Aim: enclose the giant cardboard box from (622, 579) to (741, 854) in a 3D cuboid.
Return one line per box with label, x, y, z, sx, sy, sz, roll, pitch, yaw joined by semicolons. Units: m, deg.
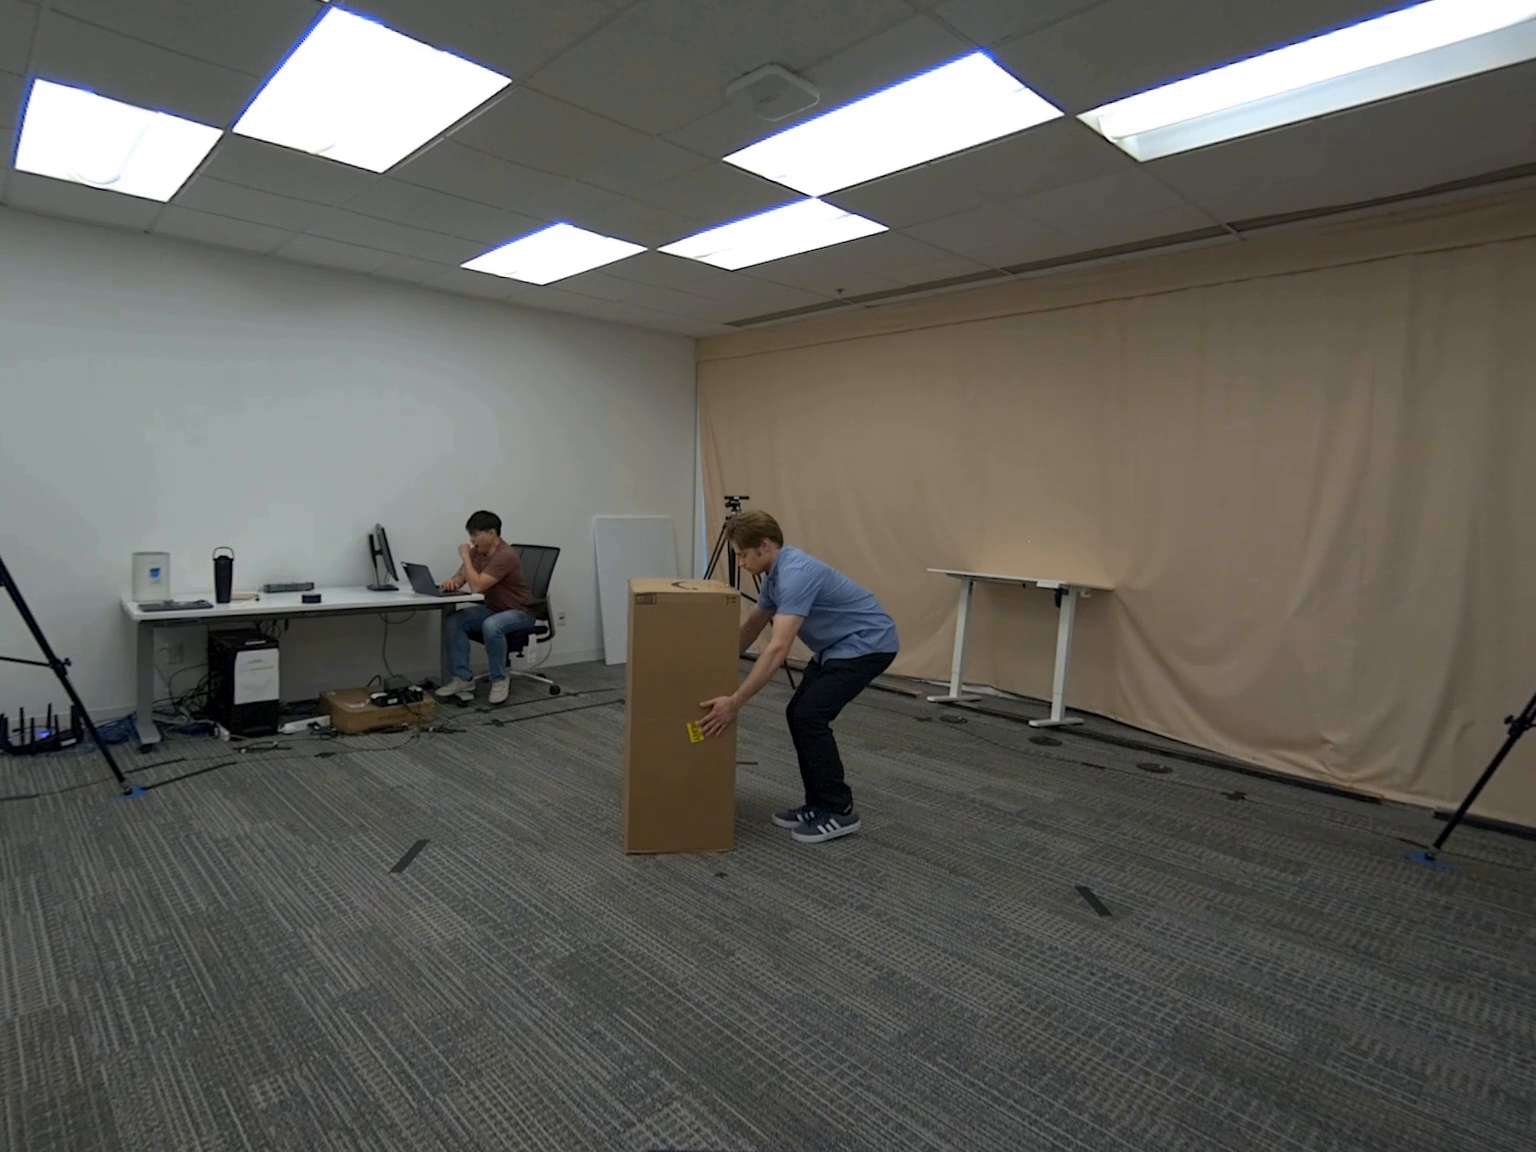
giant cardboard box;-0.385;0.552;3.546;0.423;1.024;0.583;2;3;-11
